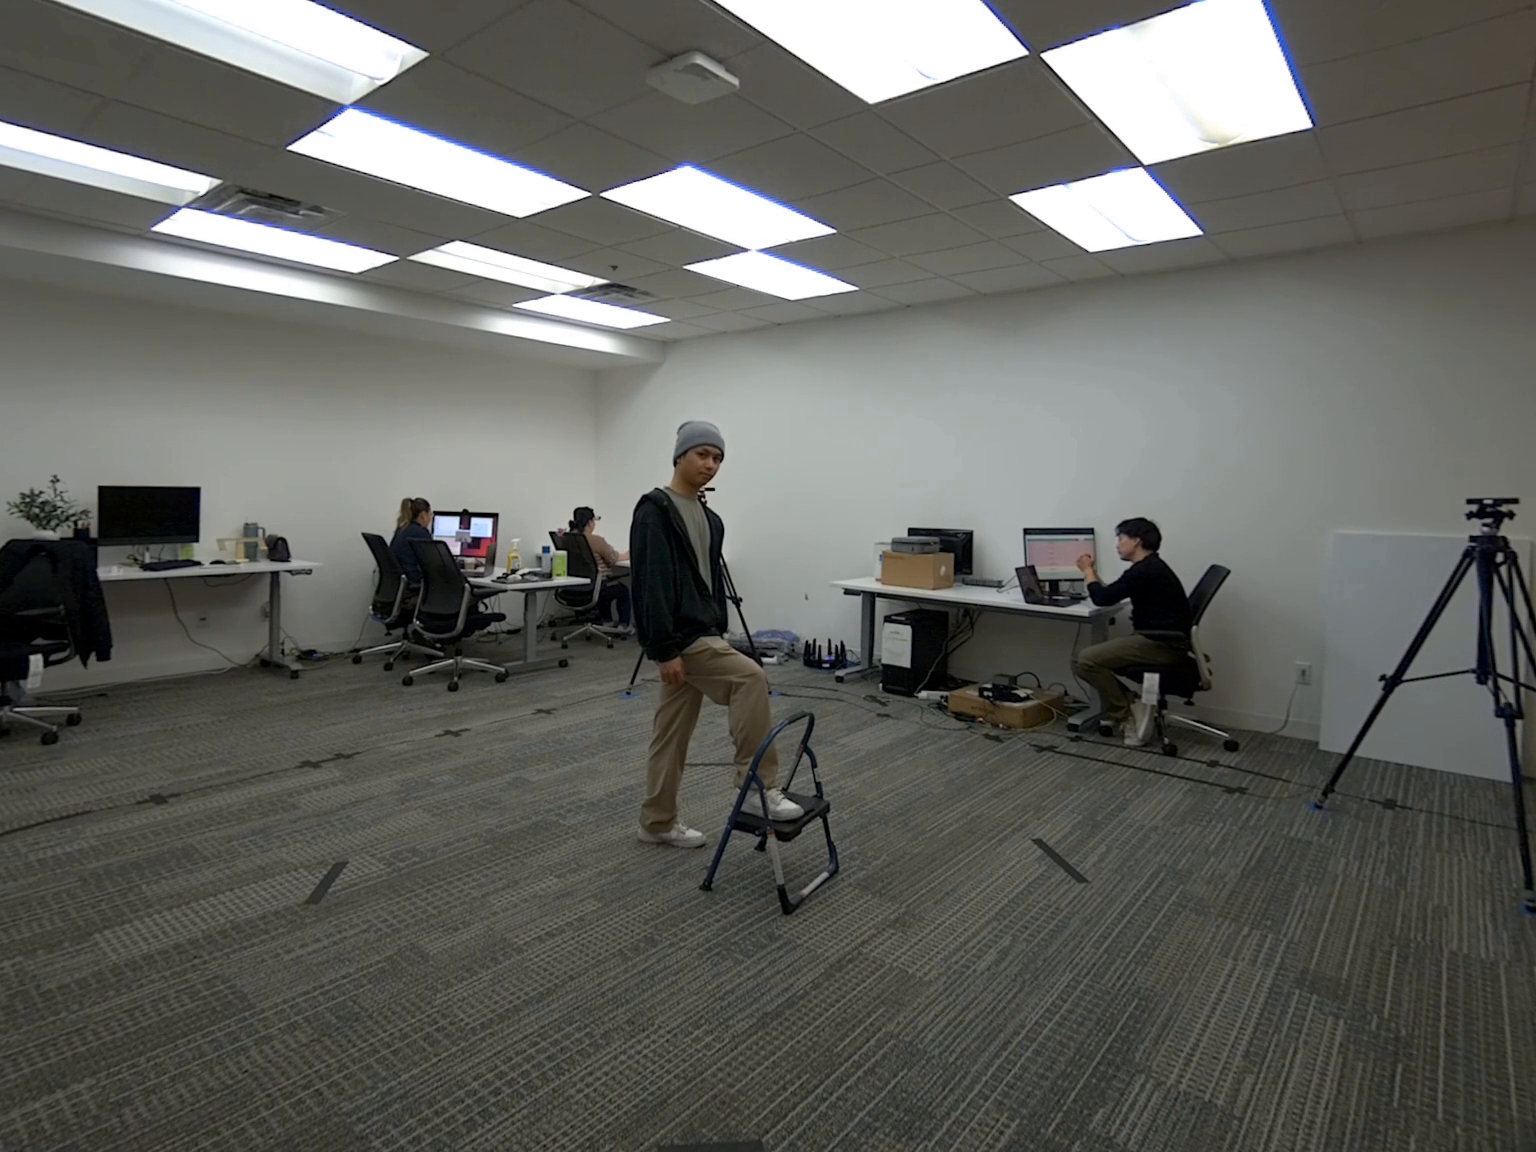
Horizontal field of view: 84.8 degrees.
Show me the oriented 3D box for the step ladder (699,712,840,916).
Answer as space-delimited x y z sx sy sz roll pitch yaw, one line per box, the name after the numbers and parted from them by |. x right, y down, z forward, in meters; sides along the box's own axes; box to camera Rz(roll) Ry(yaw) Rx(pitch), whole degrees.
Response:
0.015 0.778 3.016 0.359 0.604 0.420 3 4 29 | step ladder
